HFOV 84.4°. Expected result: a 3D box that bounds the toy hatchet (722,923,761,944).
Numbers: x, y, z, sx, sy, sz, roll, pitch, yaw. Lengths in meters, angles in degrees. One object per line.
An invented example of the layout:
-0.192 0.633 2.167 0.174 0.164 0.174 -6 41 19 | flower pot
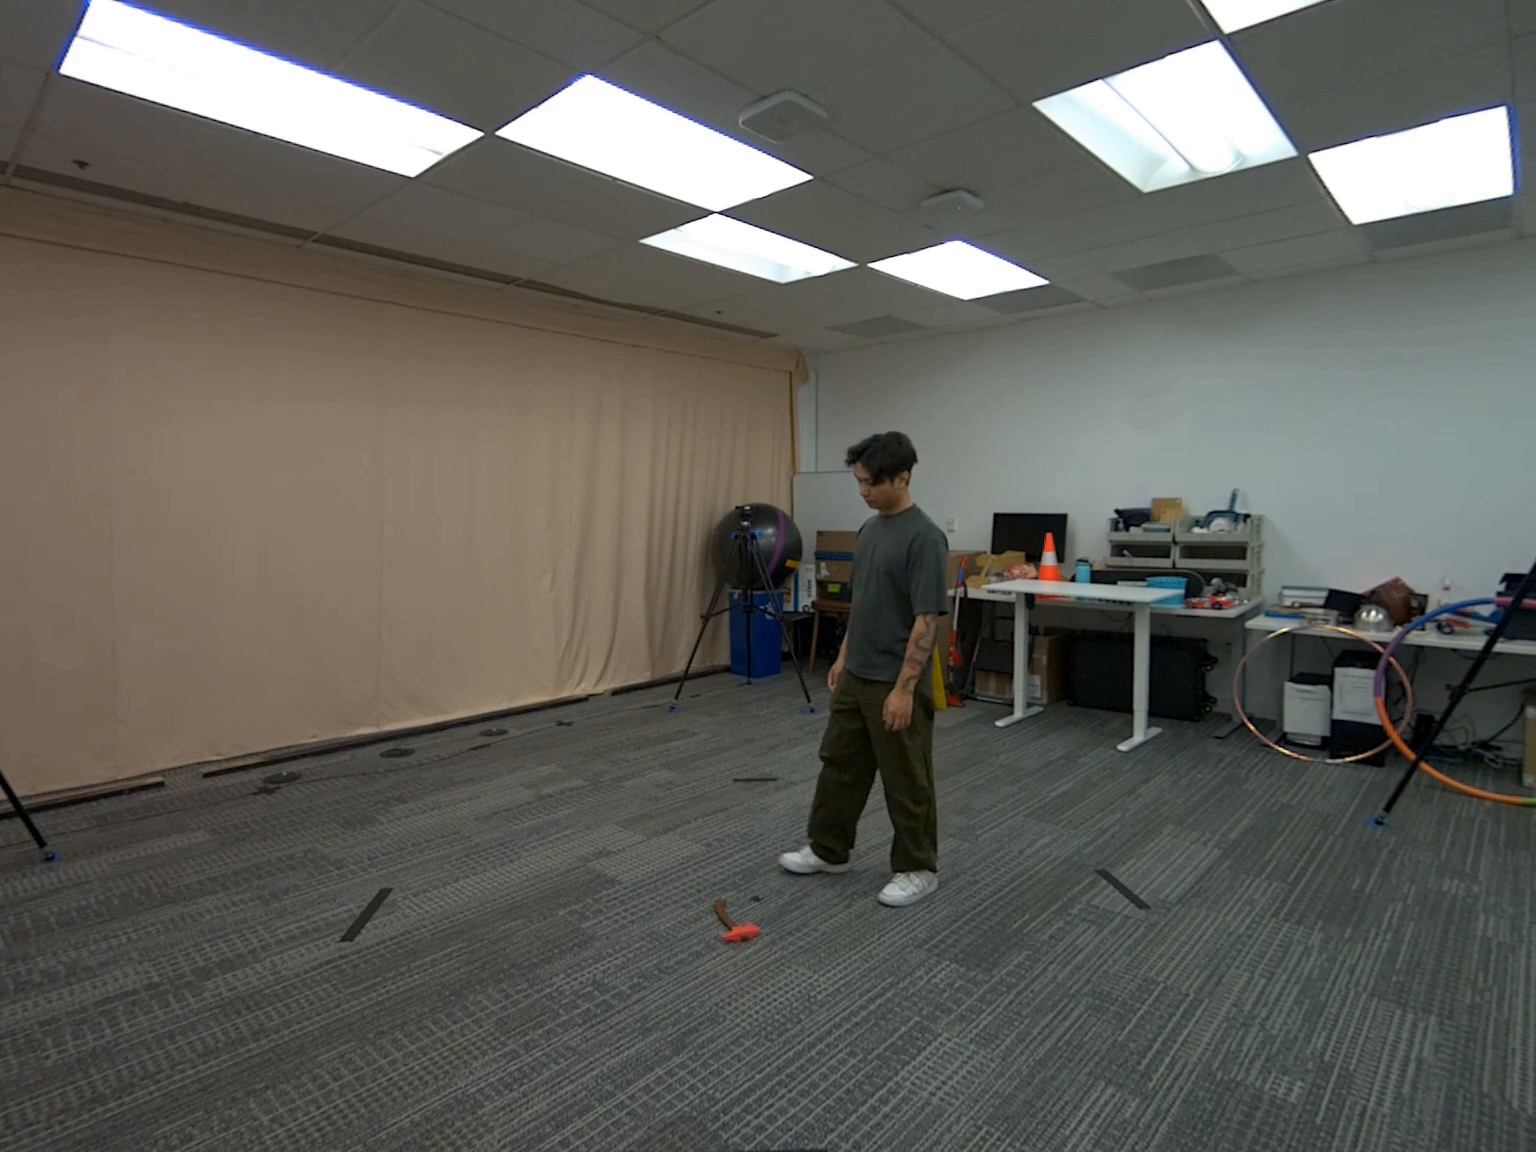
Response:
-0.101 1.148 2.813 0.130 0.029 0.273 -2 4 -9 | toy hatchet
